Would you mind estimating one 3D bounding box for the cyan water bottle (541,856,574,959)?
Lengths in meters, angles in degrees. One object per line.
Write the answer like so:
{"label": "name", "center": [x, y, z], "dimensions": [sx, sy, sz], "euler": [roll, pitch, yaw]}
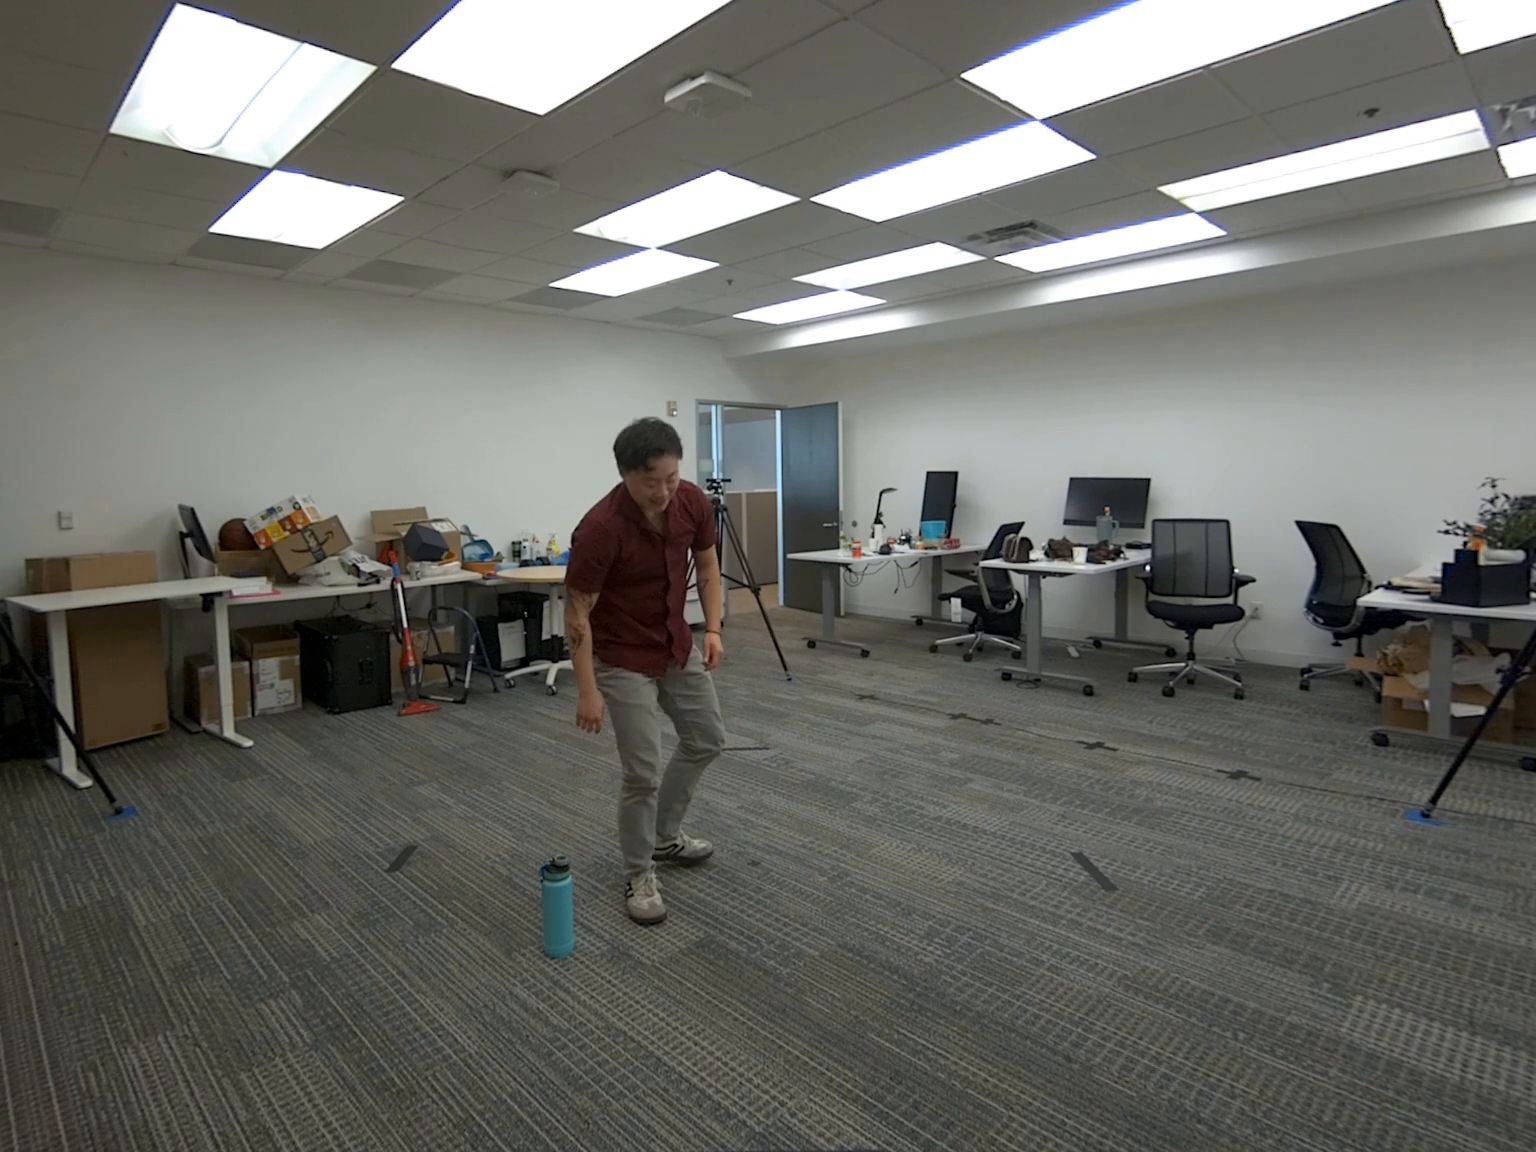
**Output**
{"label": "cyan water bottle", "center": [-0.626, 0.982, 2.547], "dimensions": [0.092, 0.282, 0.093], "euler": [-2, 5, -1]}
